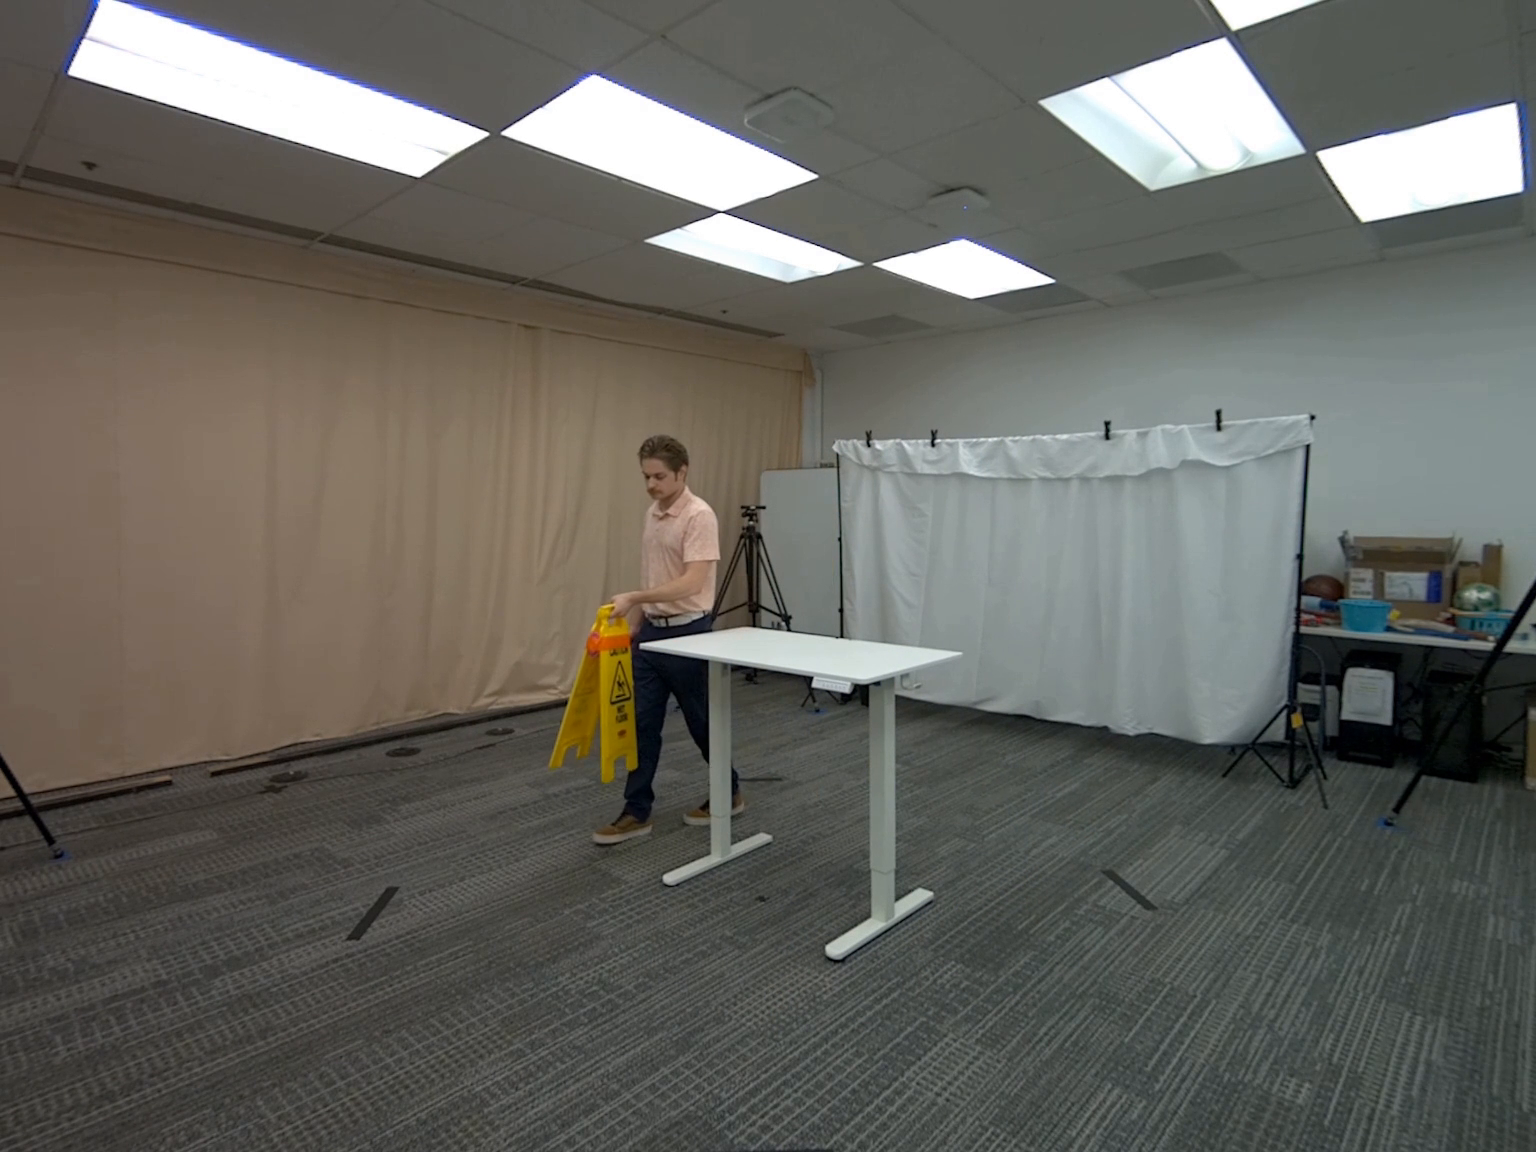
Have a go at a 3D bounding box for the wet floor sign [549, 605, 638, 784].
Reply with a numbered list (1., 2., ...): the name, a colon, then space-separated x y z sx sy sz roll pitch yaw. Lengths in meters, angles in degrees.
1. wet floor sign: -0.649 0.435 3.297 0.295 0.646 0.277 6 0 17
